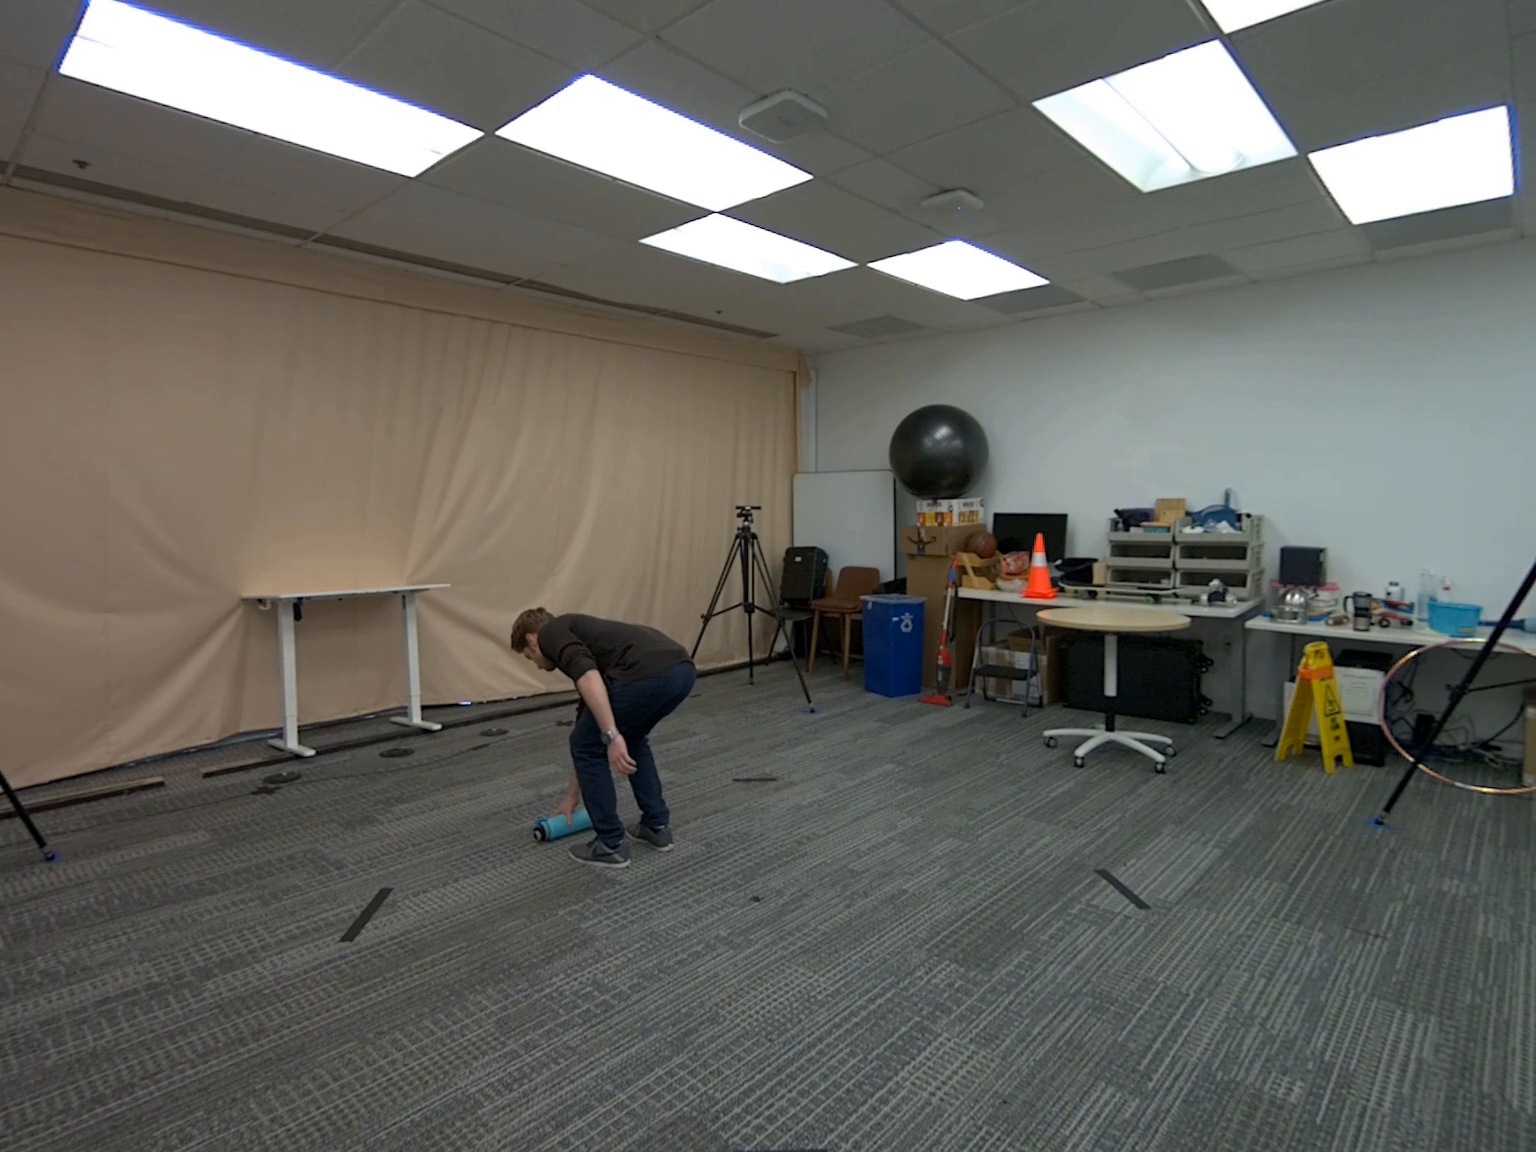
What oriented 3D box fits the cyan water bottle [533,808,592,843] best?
[{"bbox_3d":[-0.865,1.058,3.587,0.275,0.092,0.095,-6,6,-40],"label":"cyan water bottle"}]
